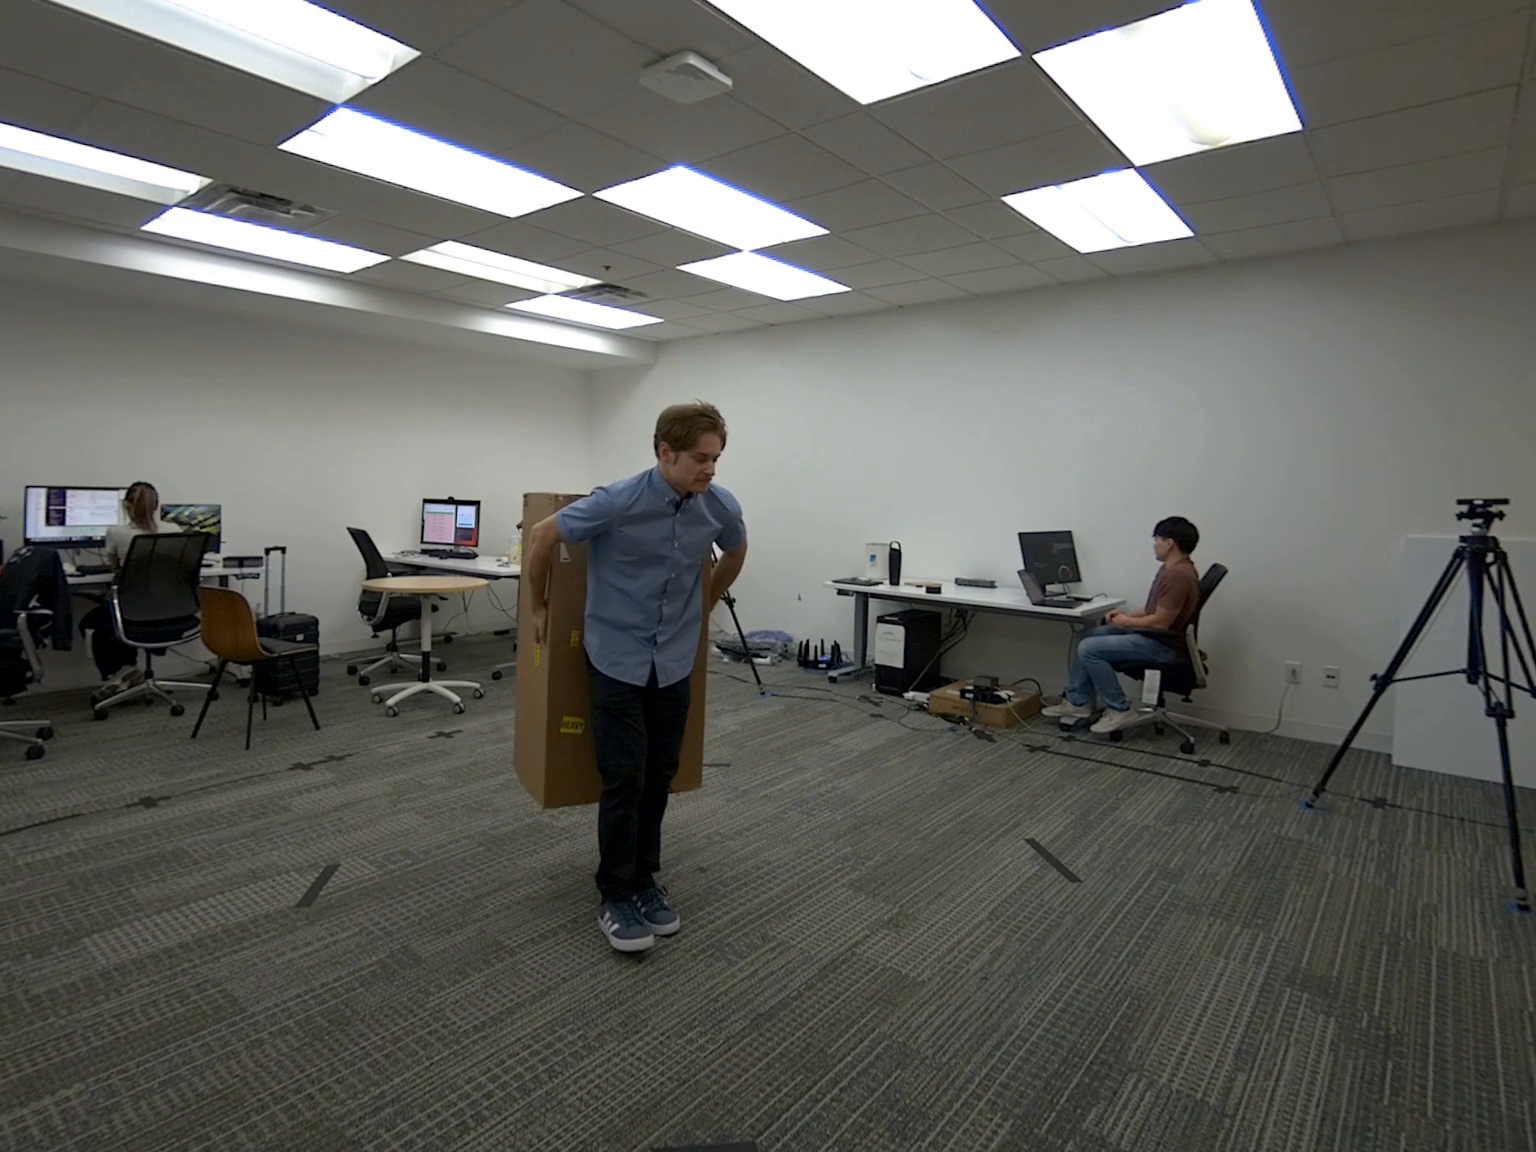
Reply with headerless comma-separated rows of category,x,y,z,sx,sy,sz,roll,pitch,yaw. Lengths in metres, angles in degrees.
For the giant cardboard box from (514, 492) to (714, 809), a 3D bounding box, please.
giant cardboard box,-0.571,0.227,3.026,0.568,1.025,0.460,1,2,-29
